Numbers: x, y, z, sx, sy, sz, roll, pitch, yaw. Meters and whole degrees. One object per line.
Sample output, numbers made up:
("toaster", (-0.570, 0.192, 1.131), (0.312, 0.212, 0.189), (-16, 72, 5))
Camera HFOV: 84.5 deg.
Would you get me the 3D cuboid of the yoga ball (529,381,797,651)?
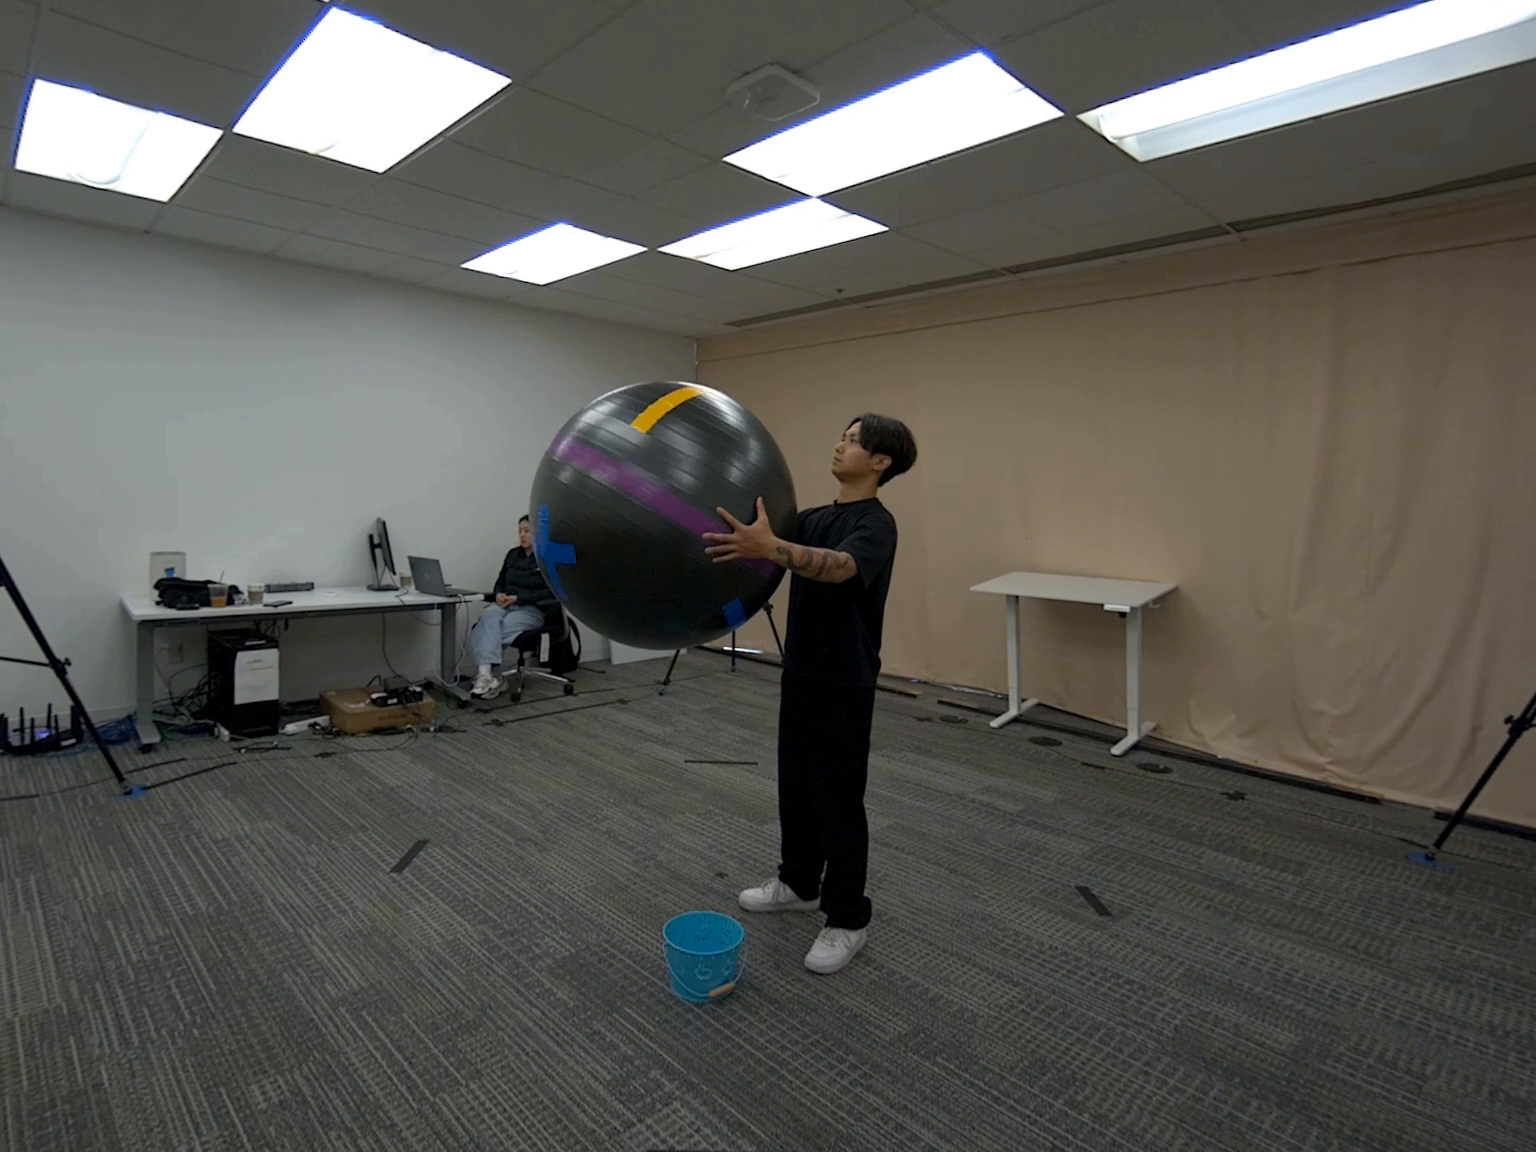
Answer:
("yoga ball", (-0.300, -0.165, 2.400), (0.757, 0.756, 0.761), (1, 4, -1))
